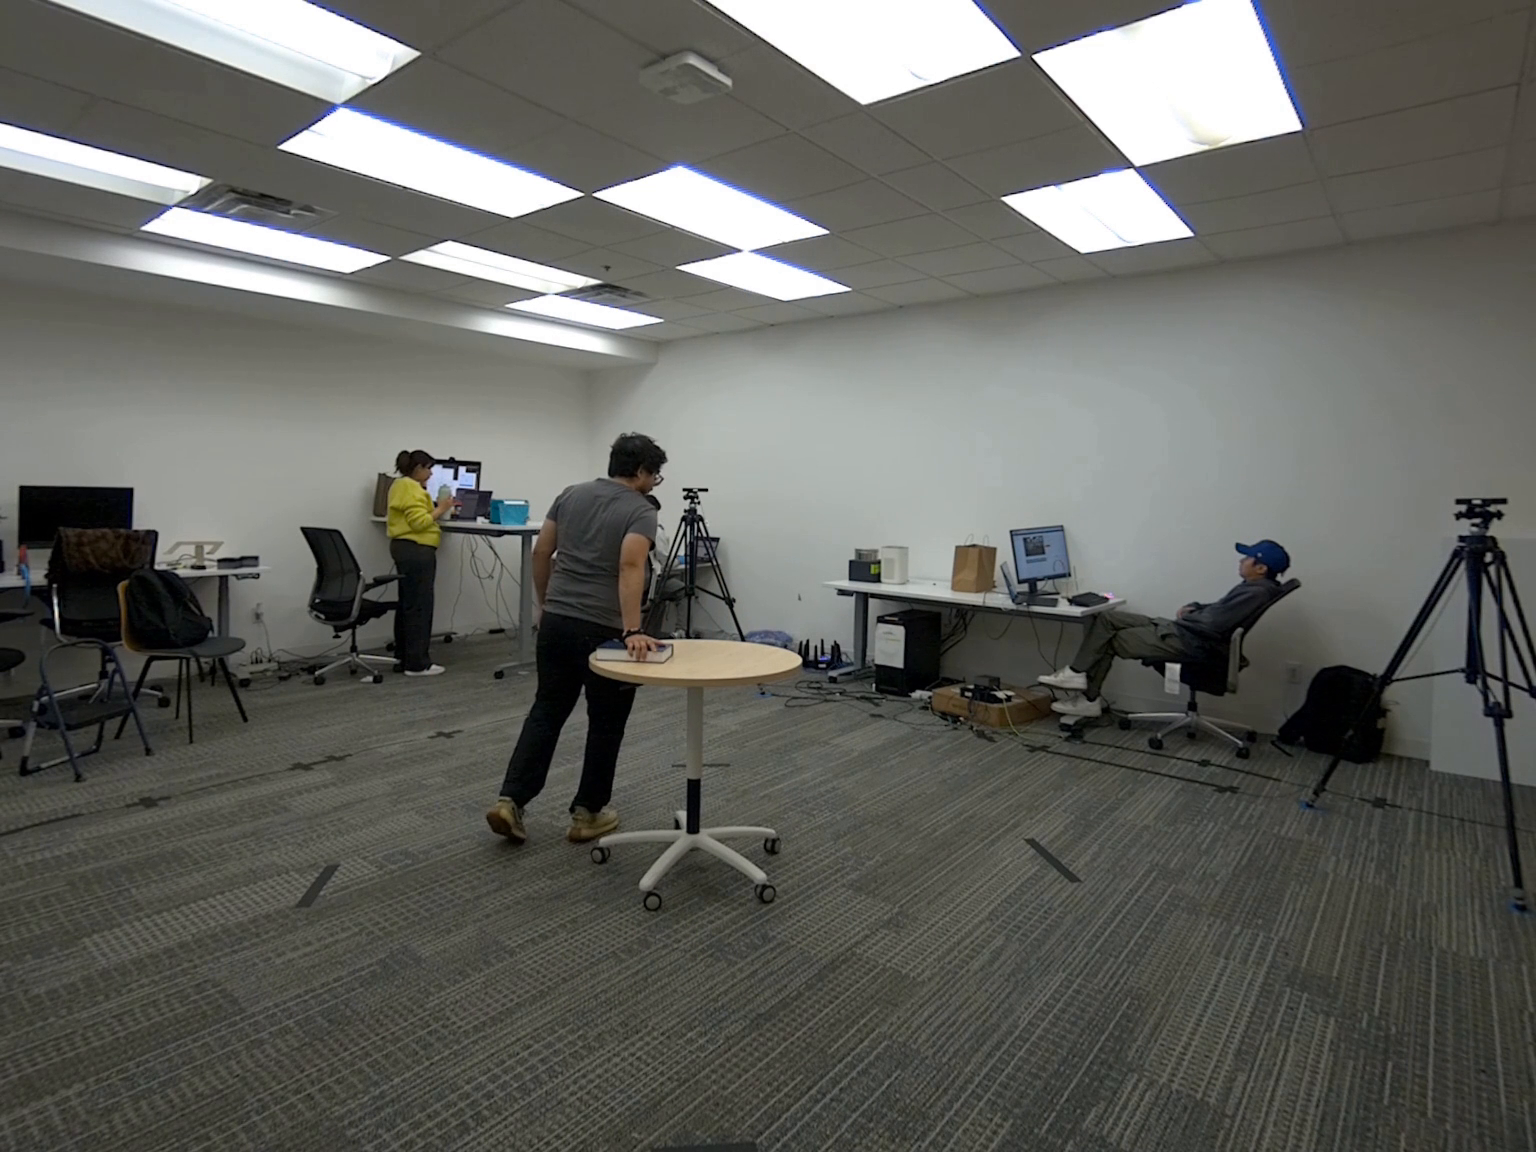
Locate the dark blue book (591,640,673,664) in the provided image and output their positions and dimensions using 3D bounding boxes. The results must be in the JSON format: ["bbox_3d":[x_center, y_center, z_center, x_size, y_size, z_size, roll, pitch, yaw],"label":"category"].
[{"bbox_3d":[-0.482,0.270,3.041,0.247,0.045,0.163,2,6,7],"label":"dark blue book"}]
